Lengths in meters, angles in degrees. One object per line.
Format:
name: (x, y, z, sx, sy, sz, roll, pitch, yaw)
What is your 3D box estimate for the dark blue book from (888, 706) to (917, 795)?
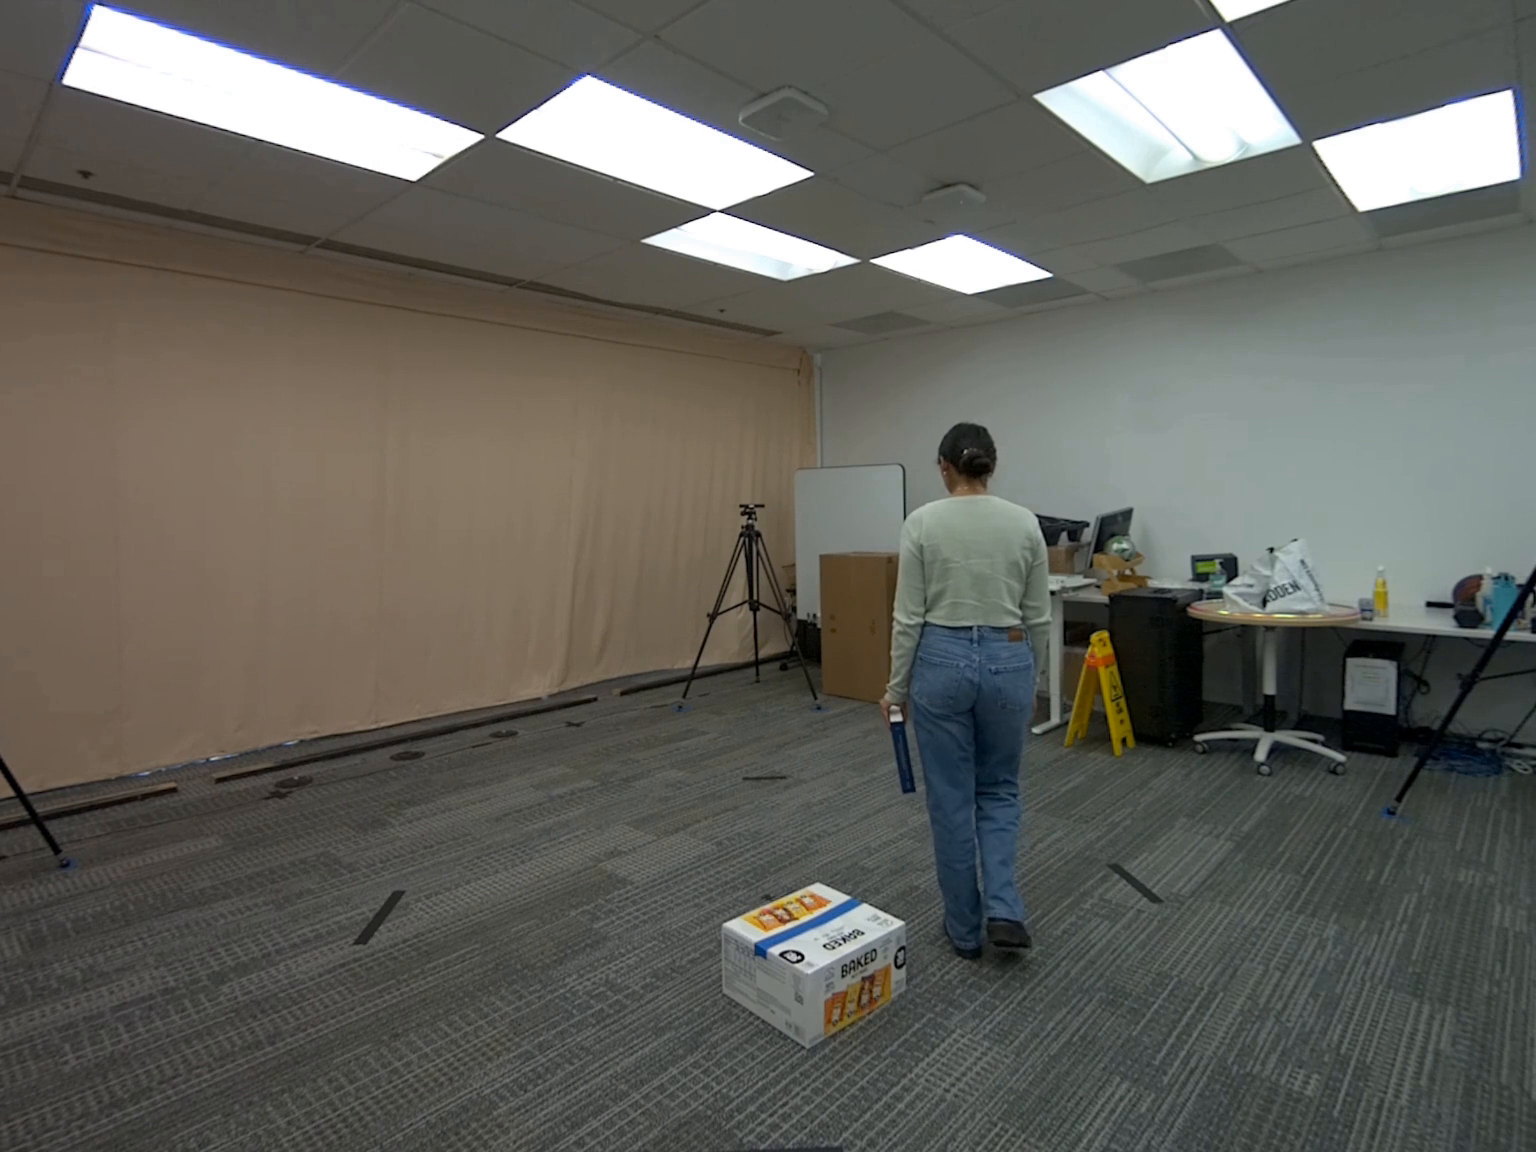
dark blue book: (0.437, 0.553, 2.693, 0.045, 0.243, 0.163, -9, 9, 8)
